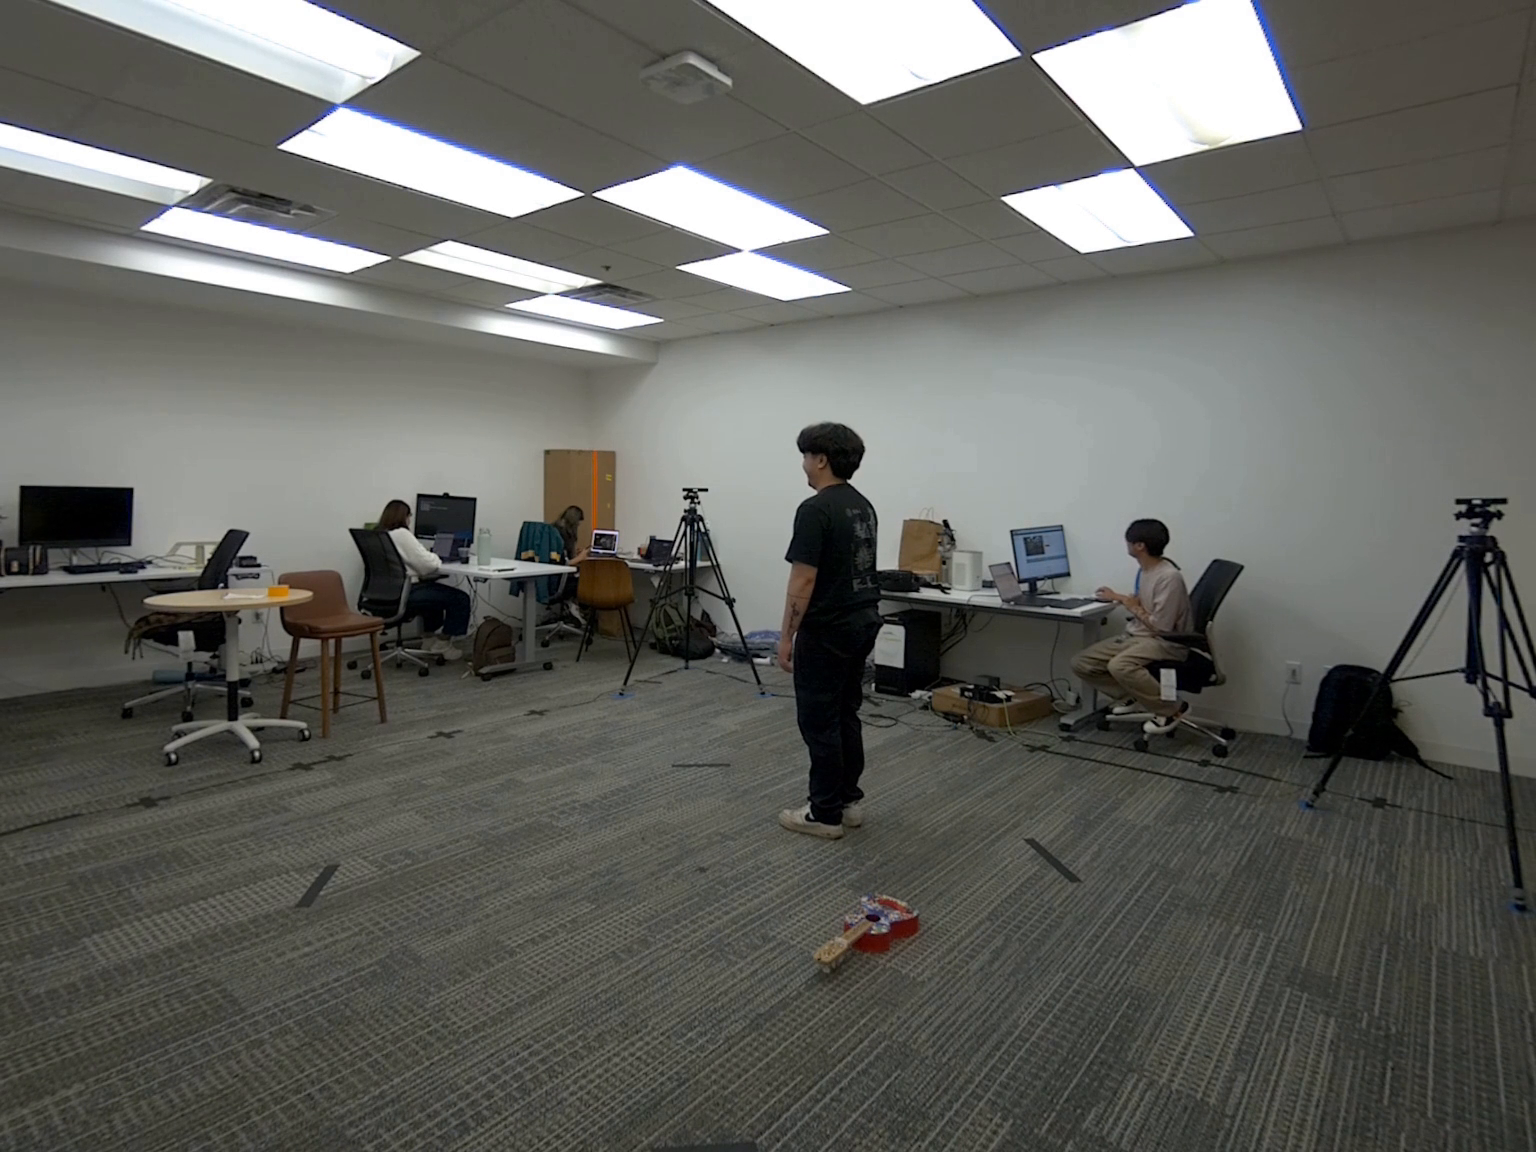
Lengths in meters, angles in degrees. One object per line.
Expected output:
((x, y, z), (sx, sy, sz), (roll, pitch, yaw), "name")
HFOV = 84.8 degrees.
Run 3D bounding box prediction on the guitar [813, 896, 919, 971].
((0.264, 1.091, 2.630), (0.482, 0.070, 0.200), (-3, 7, -45), "guitar")
